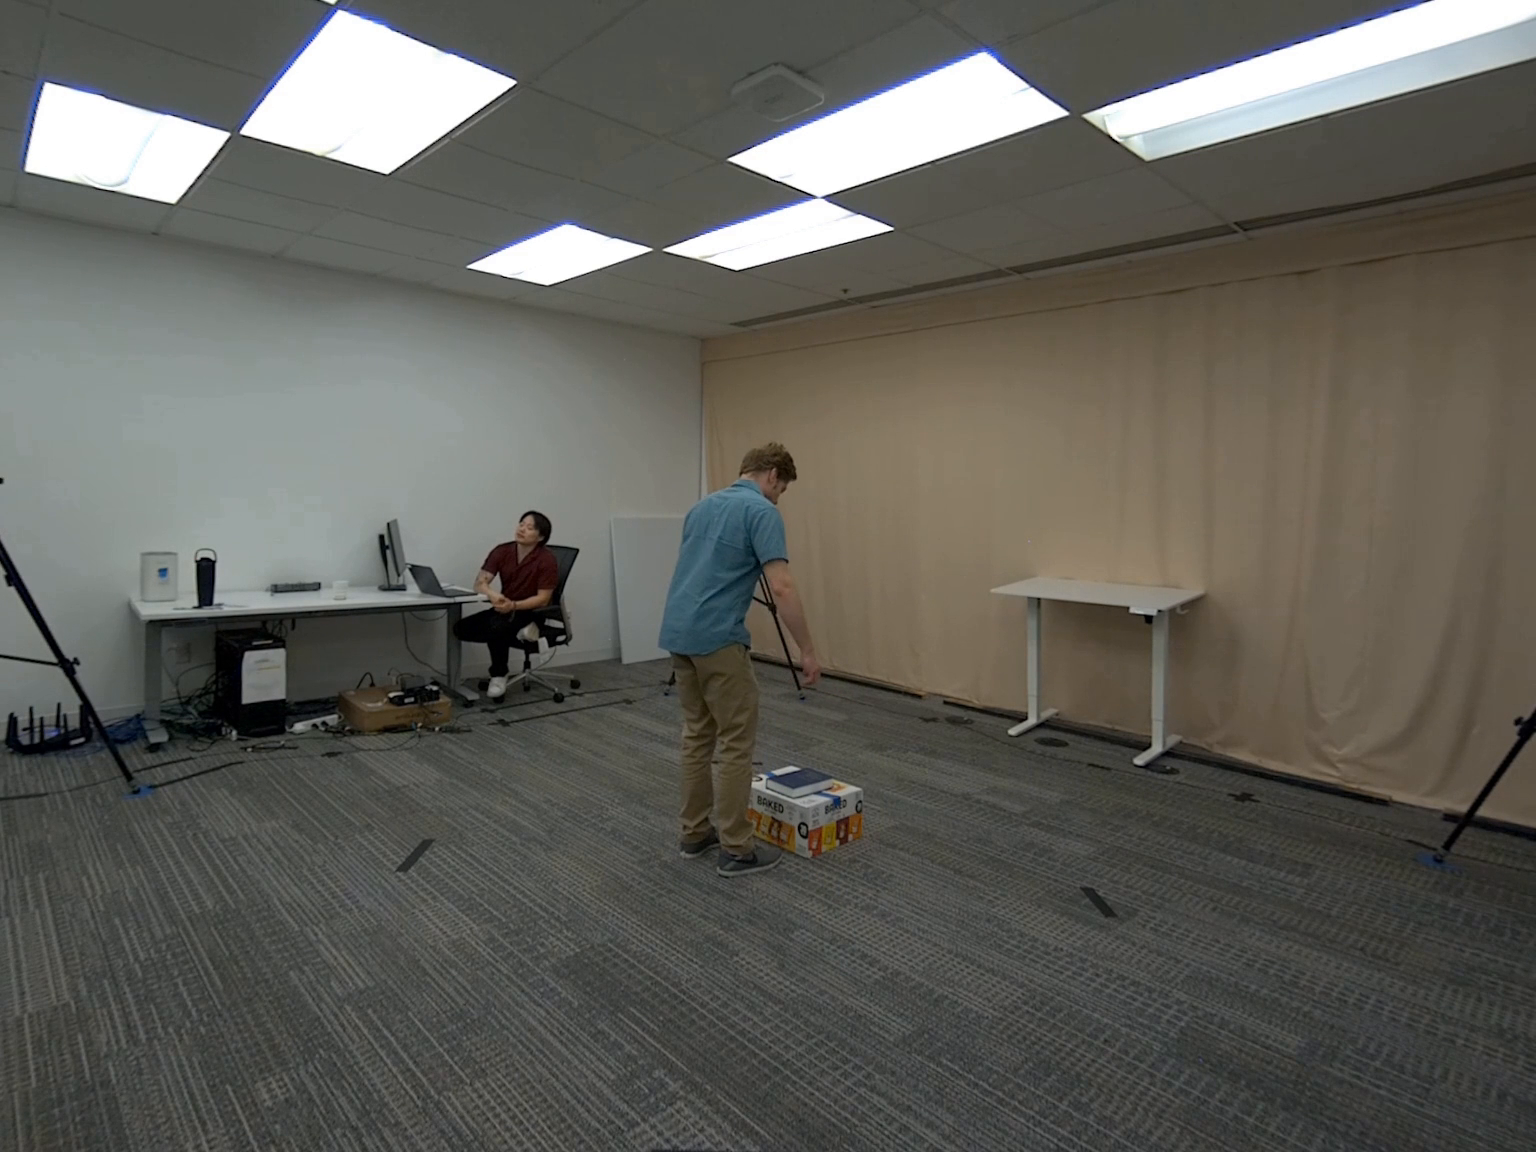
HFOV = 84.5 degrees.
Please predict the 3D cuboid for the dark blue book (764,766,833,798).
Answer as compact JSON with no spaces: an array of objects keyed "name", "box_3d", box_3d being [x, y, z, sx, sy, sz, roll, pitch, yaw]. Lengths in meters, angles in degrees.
[{"name":"dark blue book","box_3d":[0.131,0.862,3.503,0.239,0.045,0.167,-2,6,-42]}]
